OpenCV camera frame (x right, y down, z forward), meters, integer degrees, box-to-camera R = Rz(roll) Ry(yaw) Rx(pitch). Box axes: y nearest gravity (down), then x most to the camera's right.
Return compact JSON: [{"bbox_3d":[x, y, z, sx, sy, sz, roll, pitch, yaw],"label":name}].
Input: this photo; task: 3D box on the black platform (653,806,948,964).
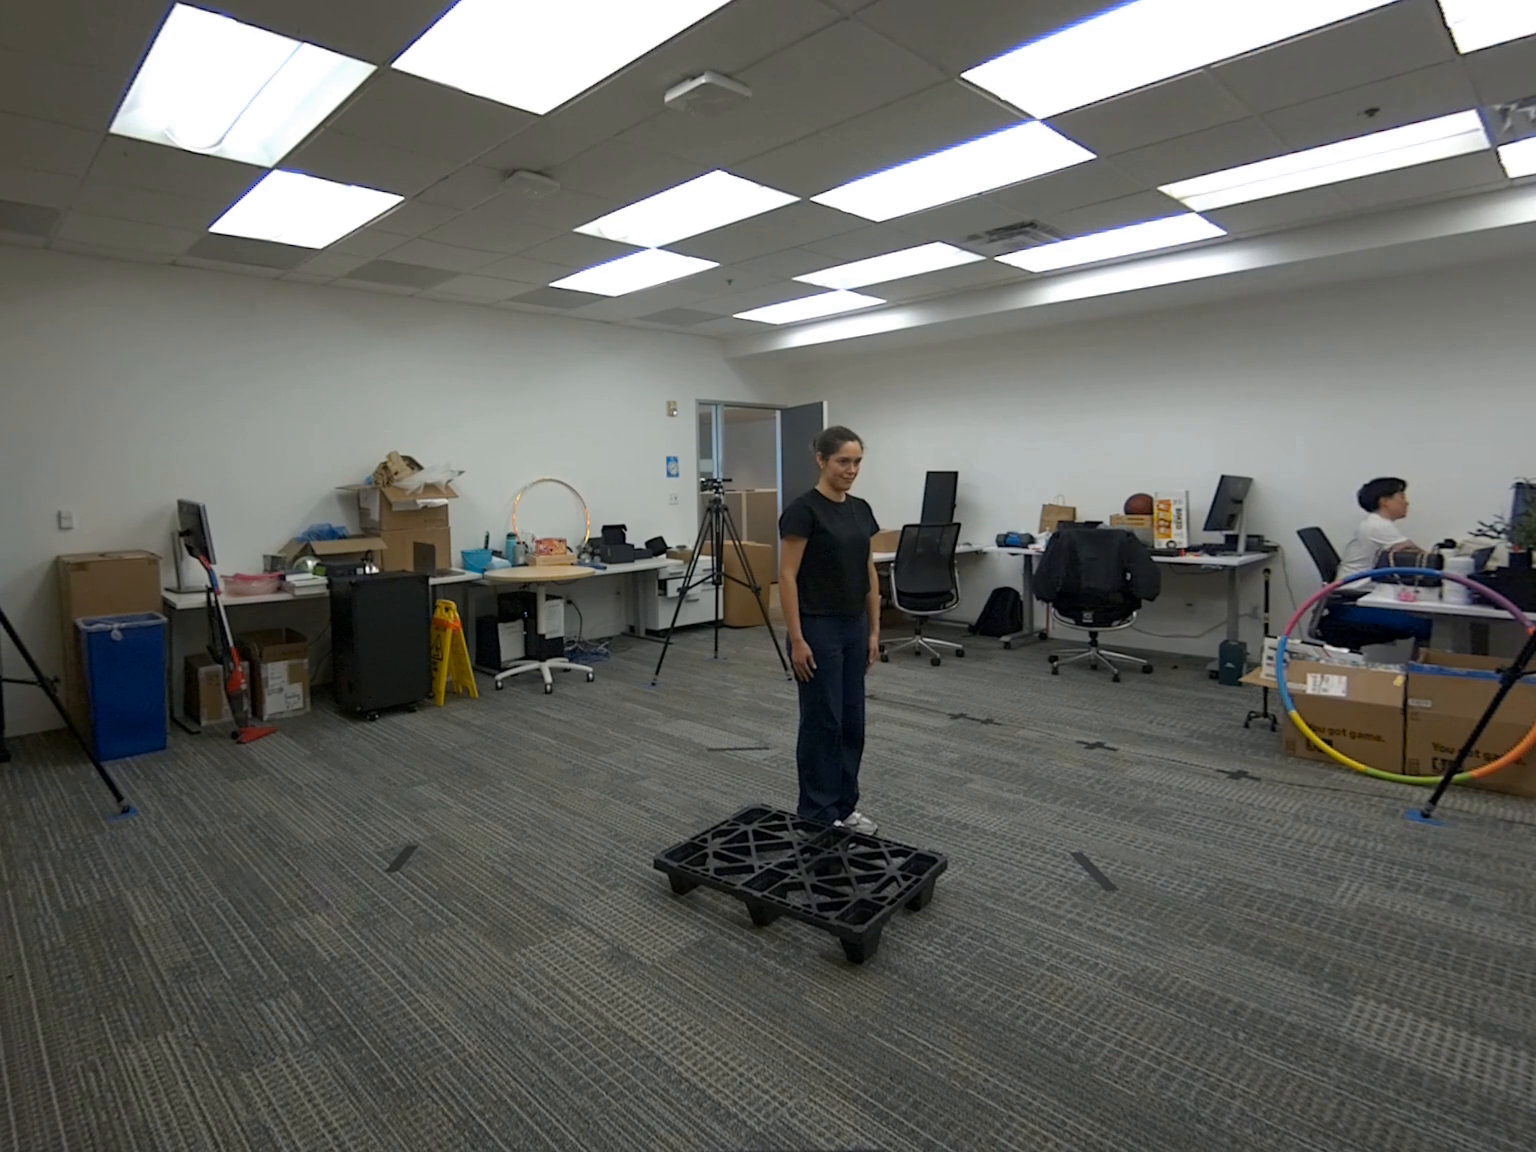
[{"bbox_3d":[0.104,1.004,2.873,0.829,0.143,0.590,4,8,37],"label":"black platform"}]
